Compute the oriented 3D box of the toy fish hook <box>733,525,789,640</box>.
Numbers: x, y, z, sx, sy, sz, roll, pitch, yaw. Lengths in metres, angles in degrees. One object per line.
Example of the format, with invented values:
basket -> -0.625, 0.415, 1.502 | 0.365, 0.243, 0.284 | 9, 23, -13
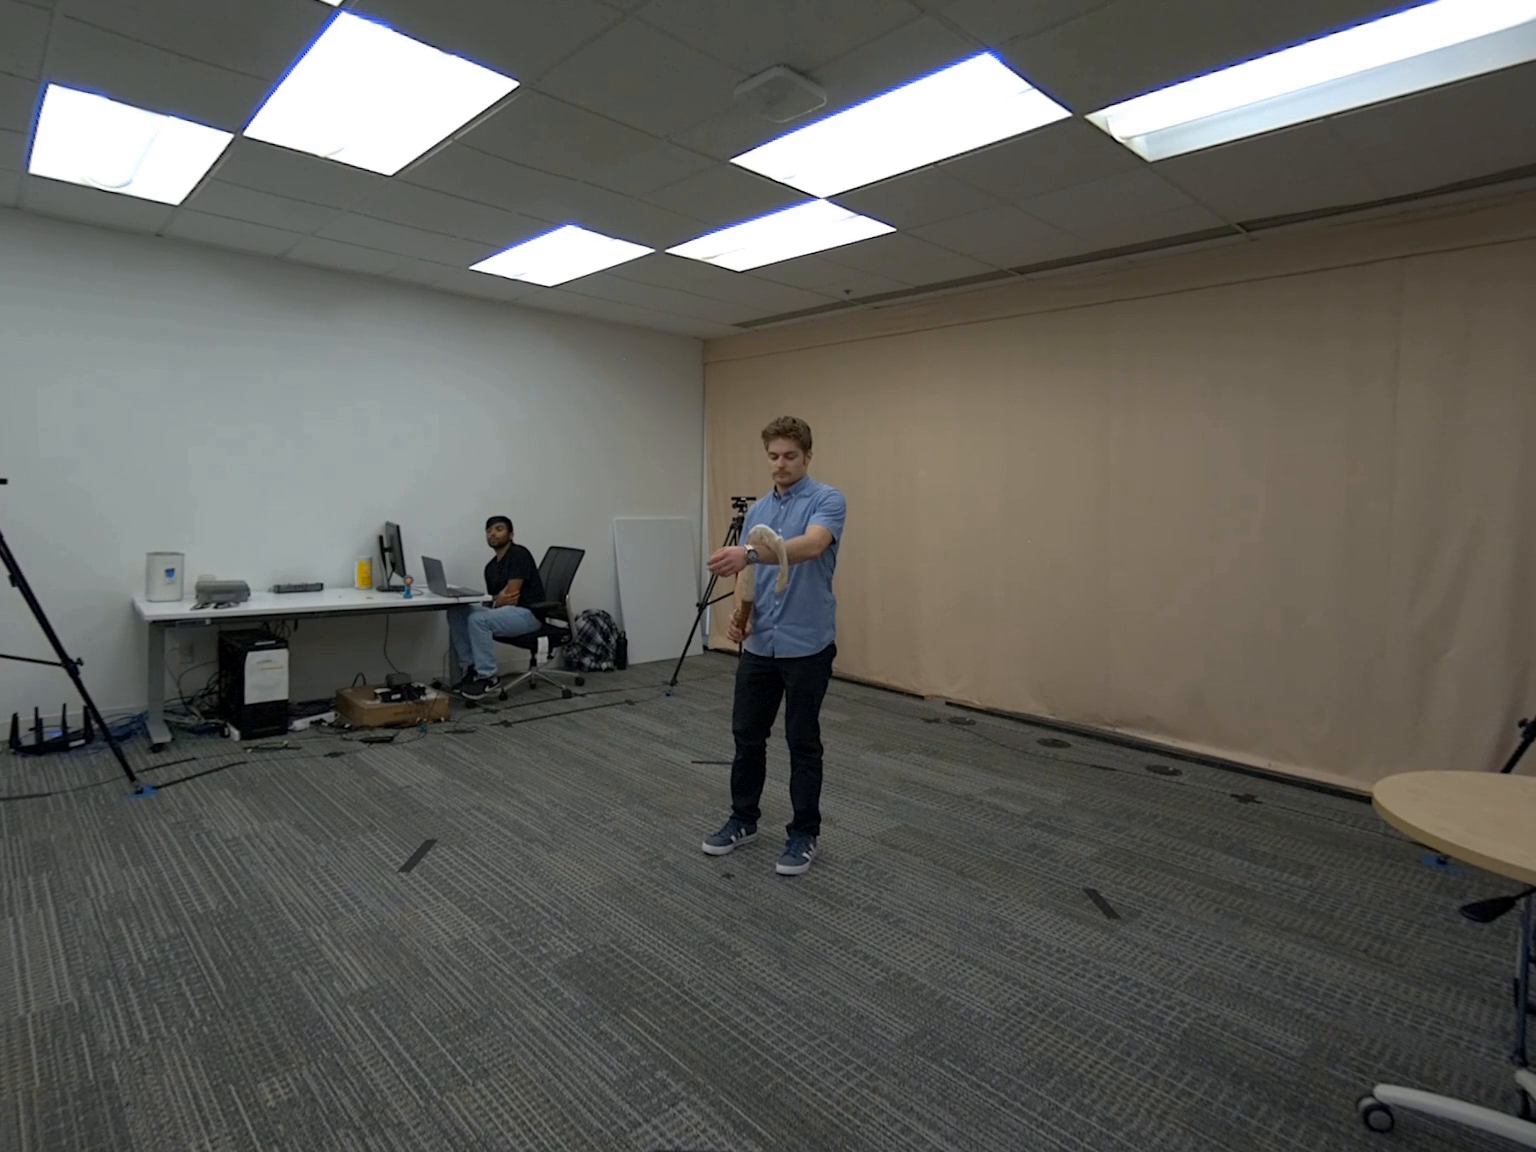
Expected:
toy fish hook -> -0.040, 0.063, 2.949 | 0.047, 0.498, 0.232 | -12, 37, -32
